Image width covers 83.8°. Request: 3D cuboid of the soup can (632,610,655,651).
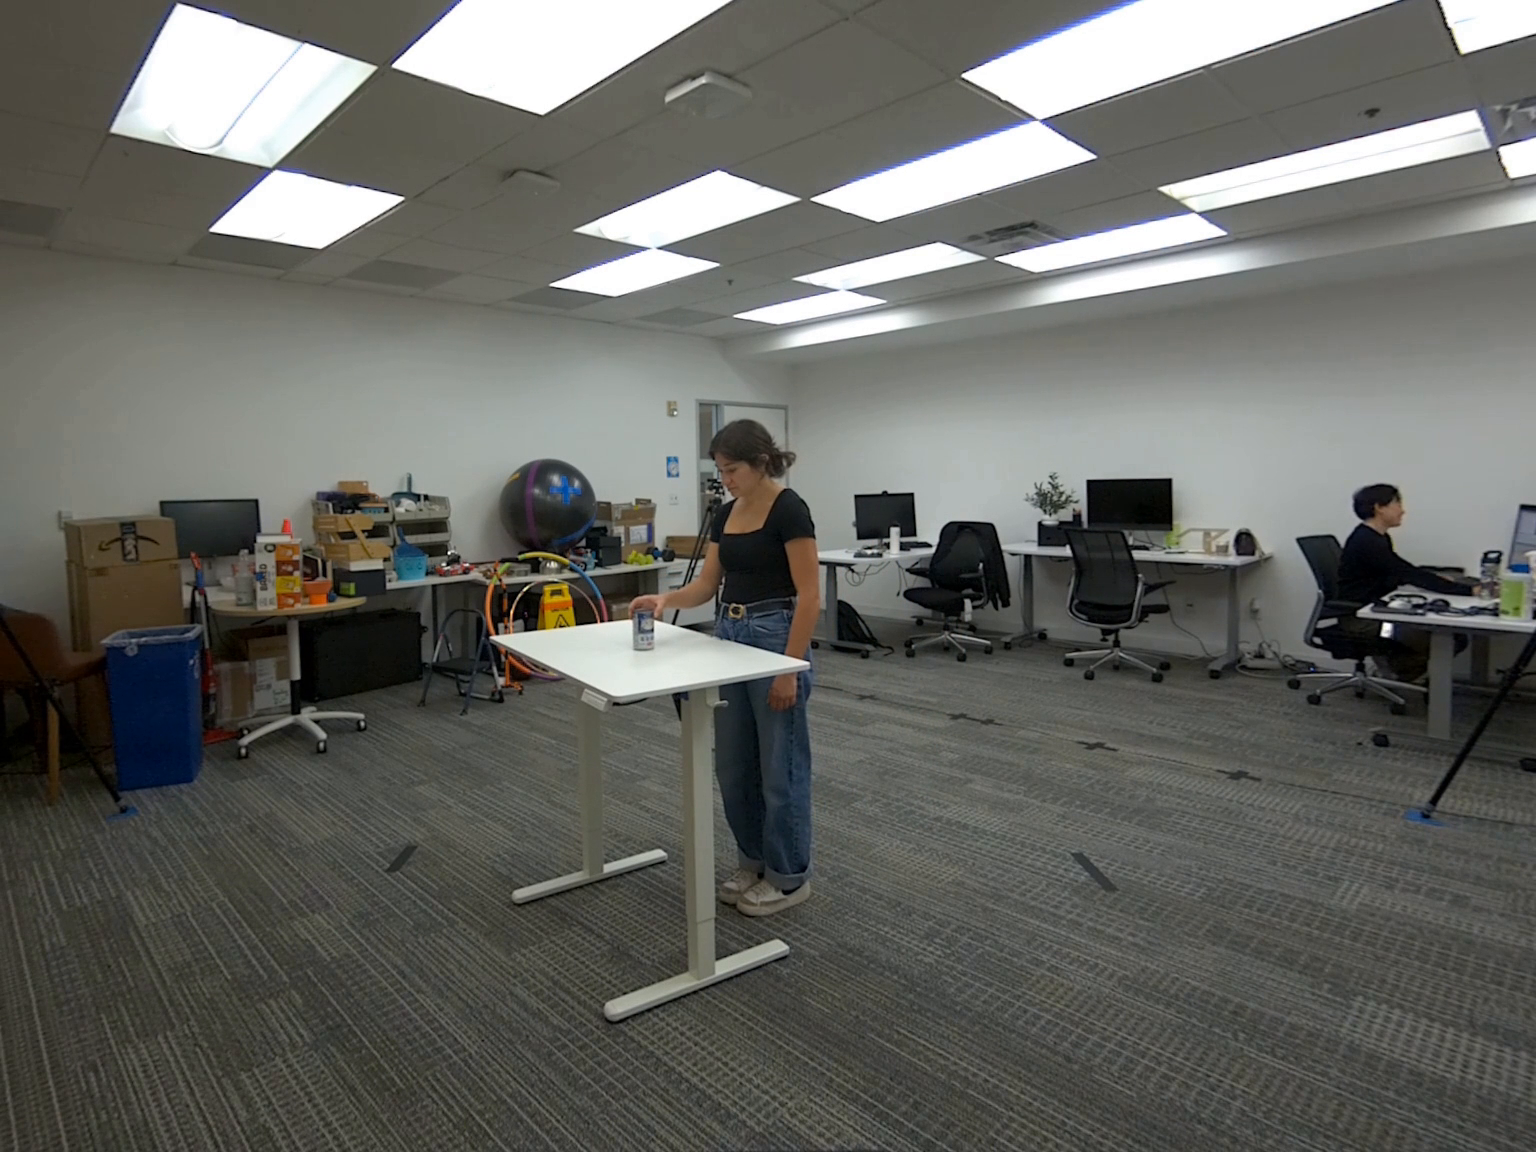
[{"bbox_3d":[-0.378,0.162,2.626,0.067,0.121,0.067,-2,6,-1],"label":"soup can"}]
